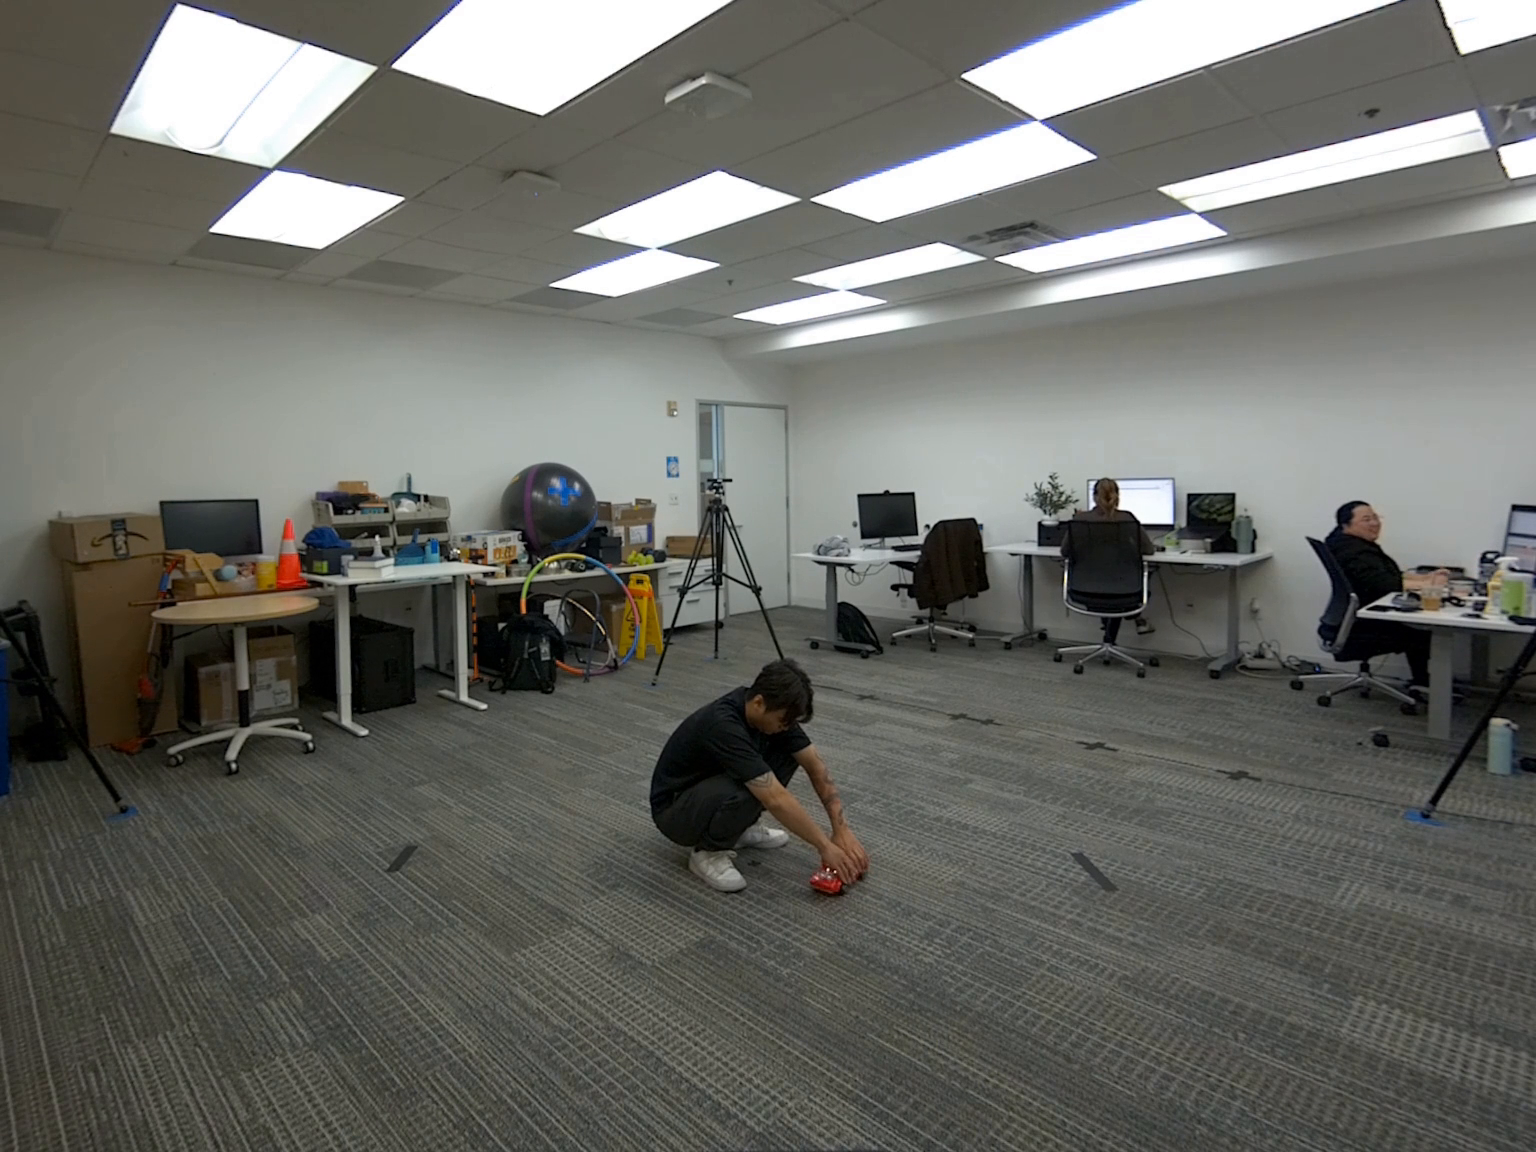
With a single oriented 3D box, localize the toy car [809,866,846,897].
[{"bbox_3d":[0.231,1.025,2.927,0.134,0.083,0.246,5,-4,33],"label":"toy car"}]
